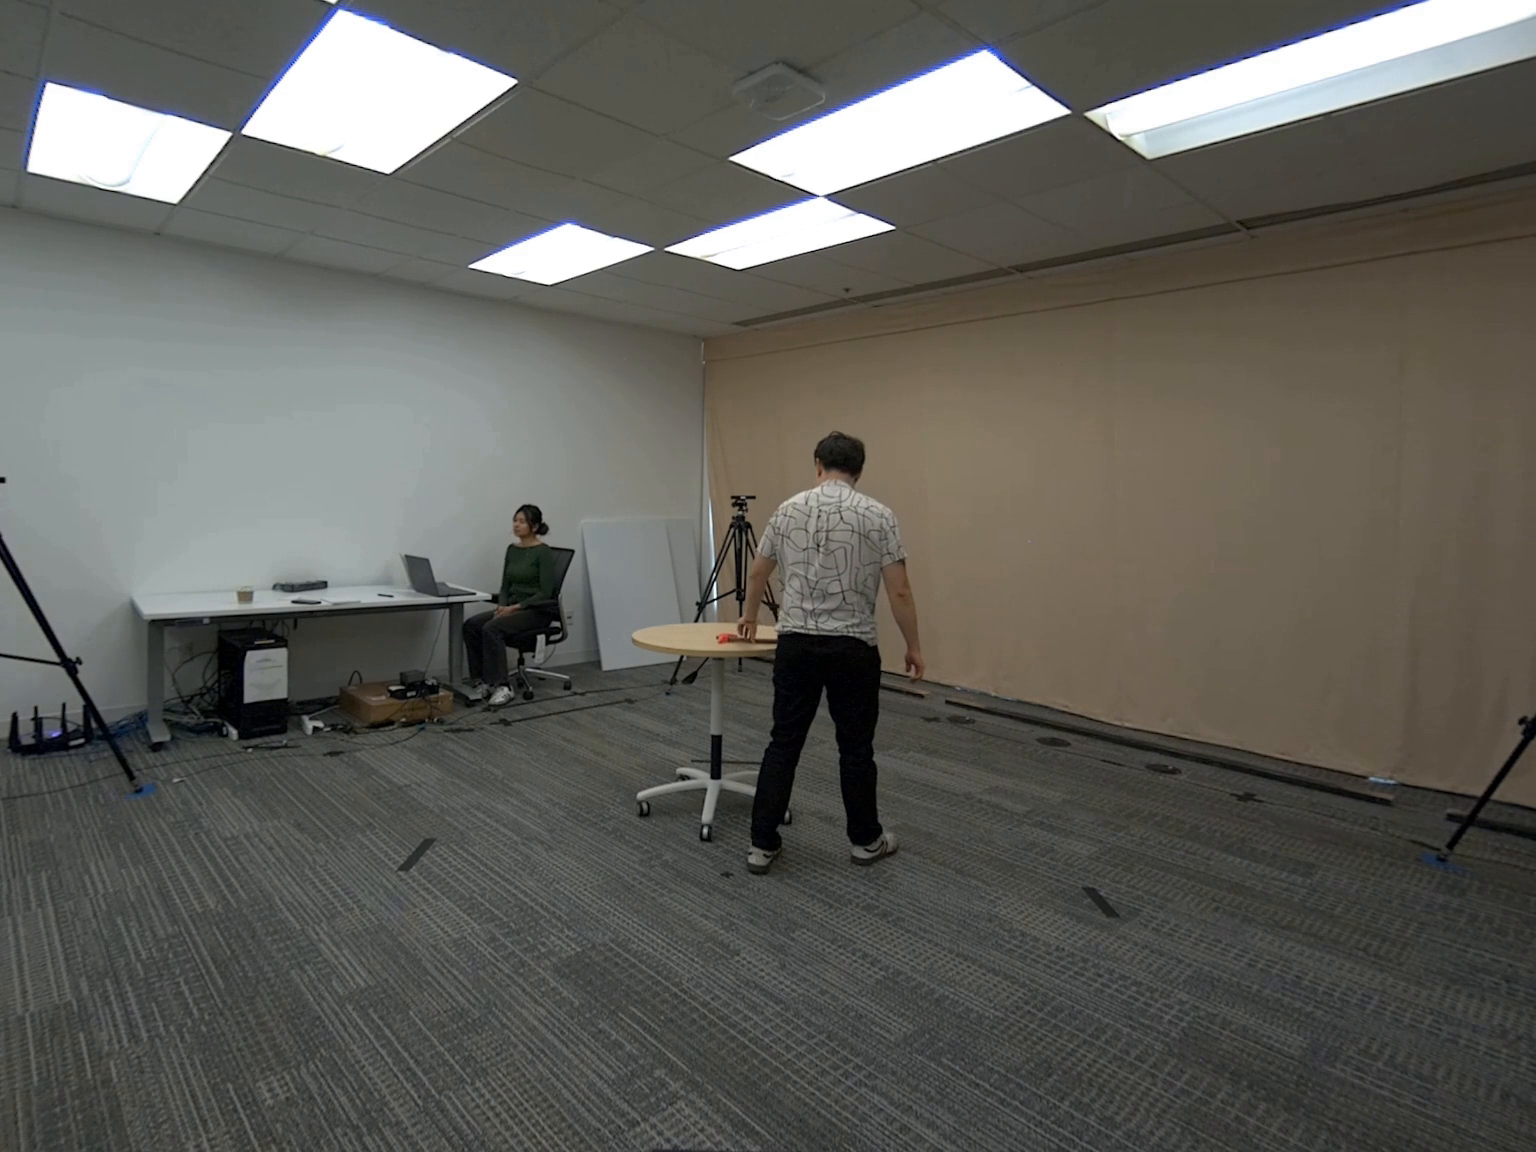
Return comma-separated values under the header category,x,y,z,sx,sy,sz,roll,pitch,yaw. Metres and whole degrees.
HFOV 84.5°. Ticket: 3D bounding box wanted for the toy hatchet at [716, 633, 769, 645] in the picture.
category,x,y,z,sx,sy,sz,roll,pitch,yaw
toy hatchet,-0.095,0.266,3.570,0.269,0.029,0.132,1,8,-6
